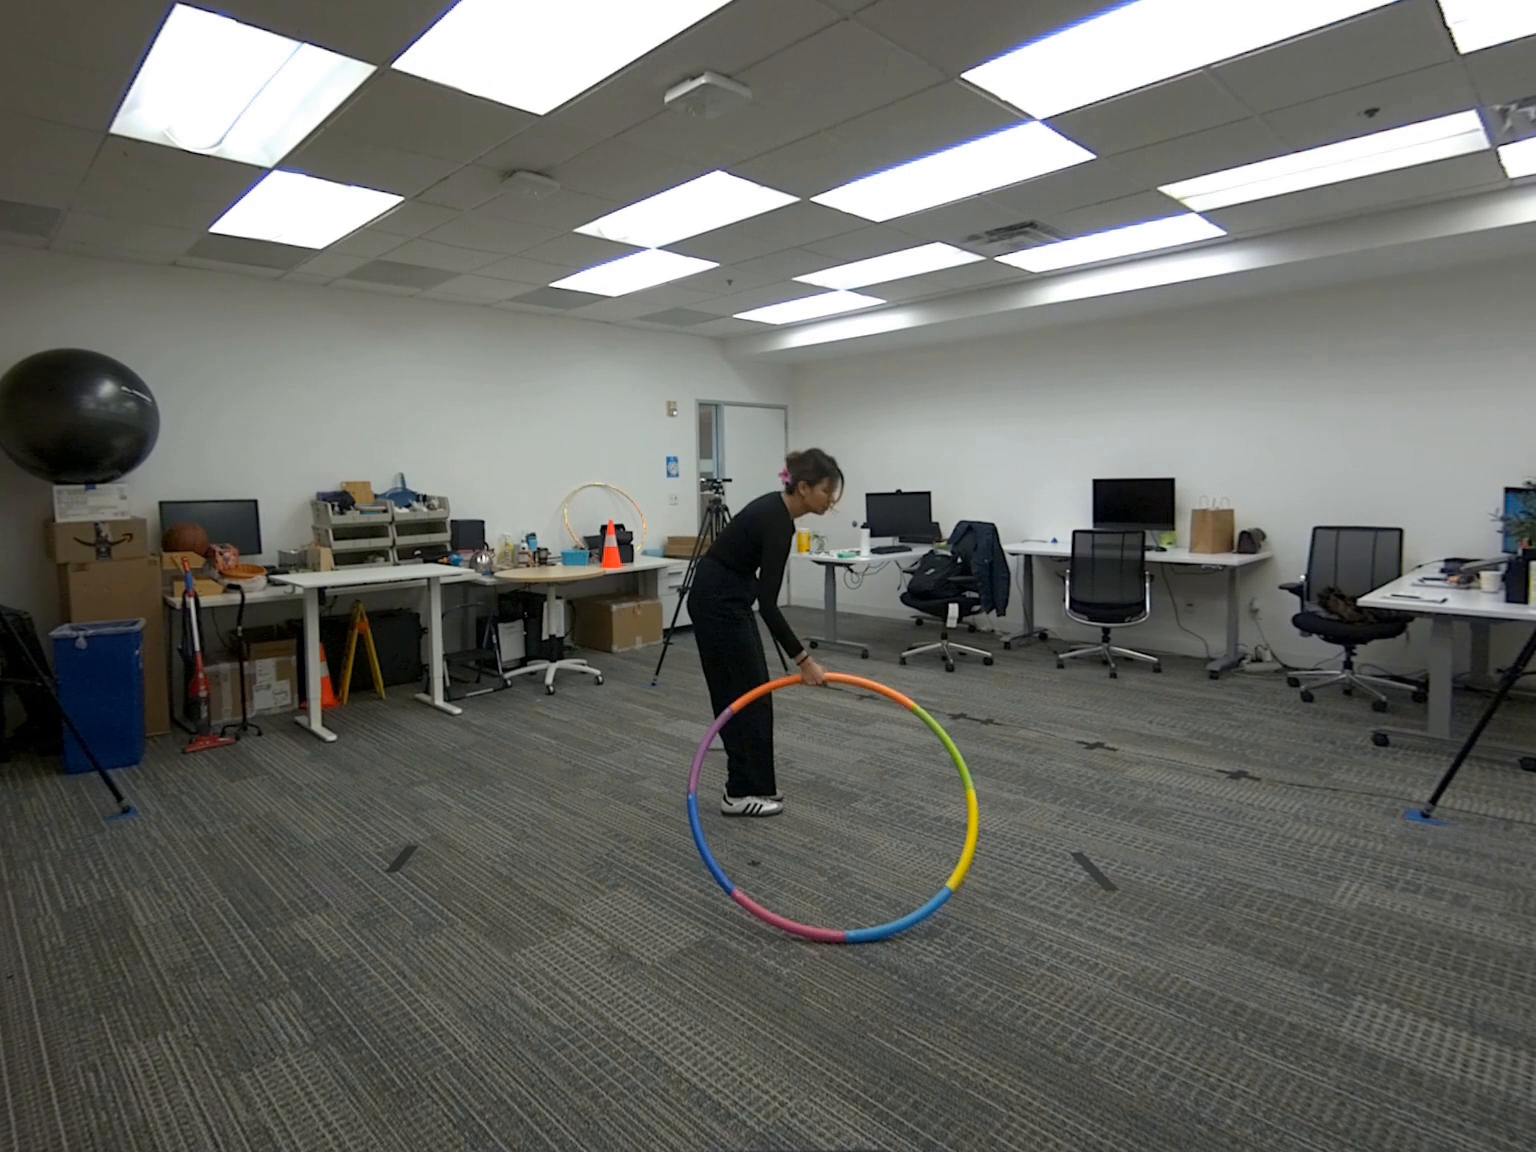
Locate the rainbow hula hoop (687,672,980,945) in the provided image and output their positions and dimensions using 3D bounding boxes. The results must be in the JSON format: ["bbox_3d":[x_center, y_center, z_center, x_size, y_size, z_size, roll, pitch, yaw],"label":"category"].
[{"bbox_3d":[0.215,0.737,2.923,0.985,0.050,1.013,-2,45,0],"label":"rainbow hula hoop"}]
